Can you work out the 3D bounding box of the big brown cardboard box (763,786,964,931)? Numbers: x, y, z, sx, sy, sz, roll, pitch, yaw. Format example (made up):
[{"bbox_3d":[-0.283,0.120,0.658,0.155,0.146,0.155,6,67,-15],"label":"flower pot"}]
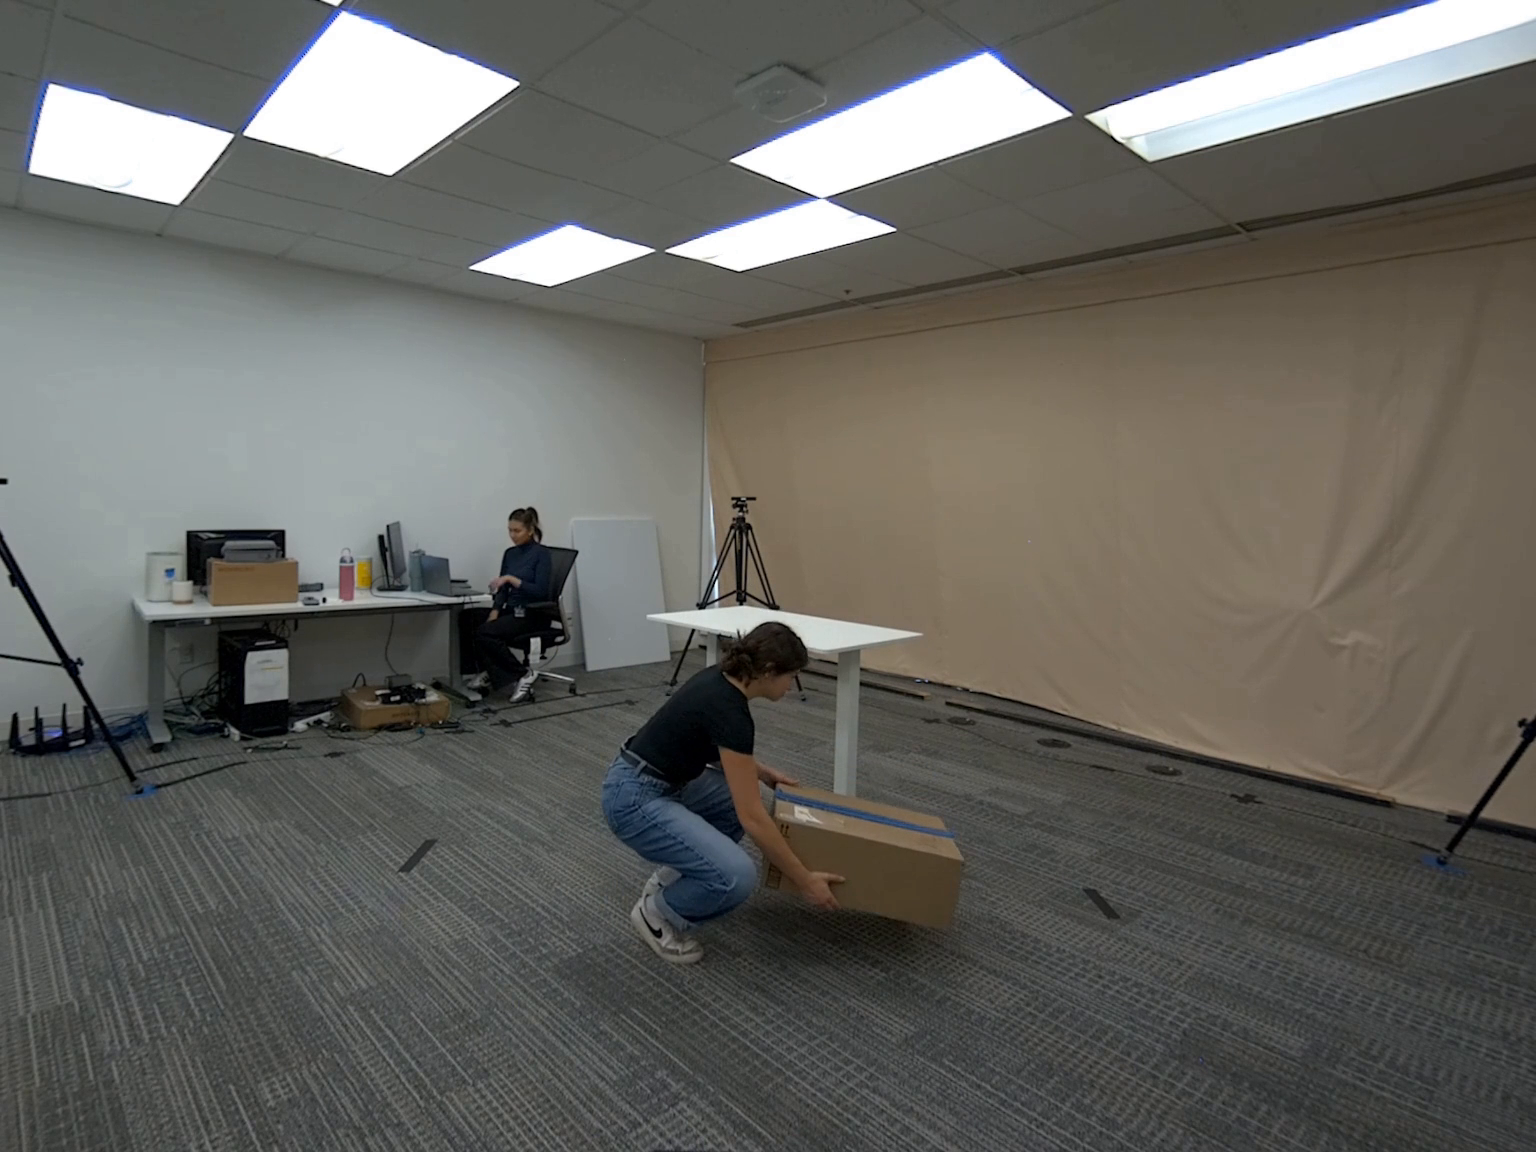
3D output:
[{"bbox_3d":[0.275,0.864,2.656,0.590,0.233,0.417,13,1,2],"label":"big brown cardboard box"}]
